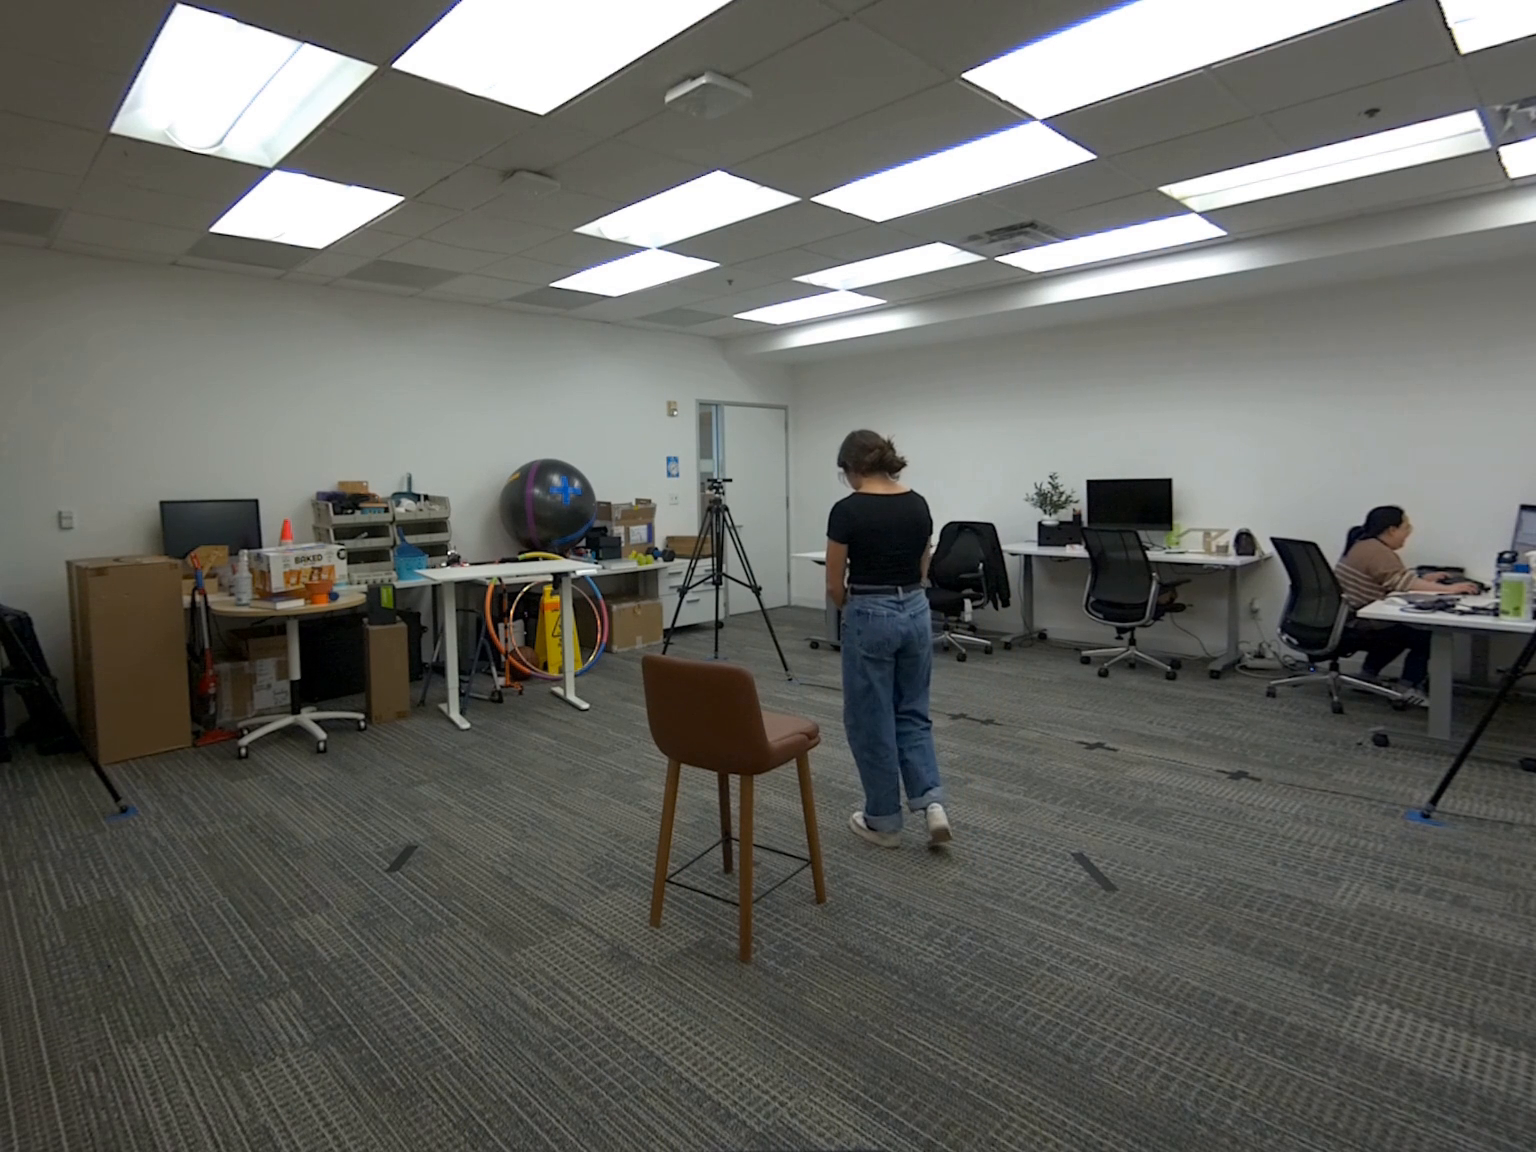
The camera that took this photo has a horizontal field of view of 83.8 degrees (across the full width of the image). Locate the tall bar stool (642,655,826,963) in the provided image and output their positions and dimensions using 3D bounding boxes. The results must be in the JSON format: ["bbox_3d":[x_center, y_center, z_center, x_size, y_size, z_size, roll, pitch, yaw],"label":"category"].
[{"bbox_3d":[-0.106,0.655,2.724,0.470,0.885,0.457,2,7,35],"label":"tall bar stool"}]
